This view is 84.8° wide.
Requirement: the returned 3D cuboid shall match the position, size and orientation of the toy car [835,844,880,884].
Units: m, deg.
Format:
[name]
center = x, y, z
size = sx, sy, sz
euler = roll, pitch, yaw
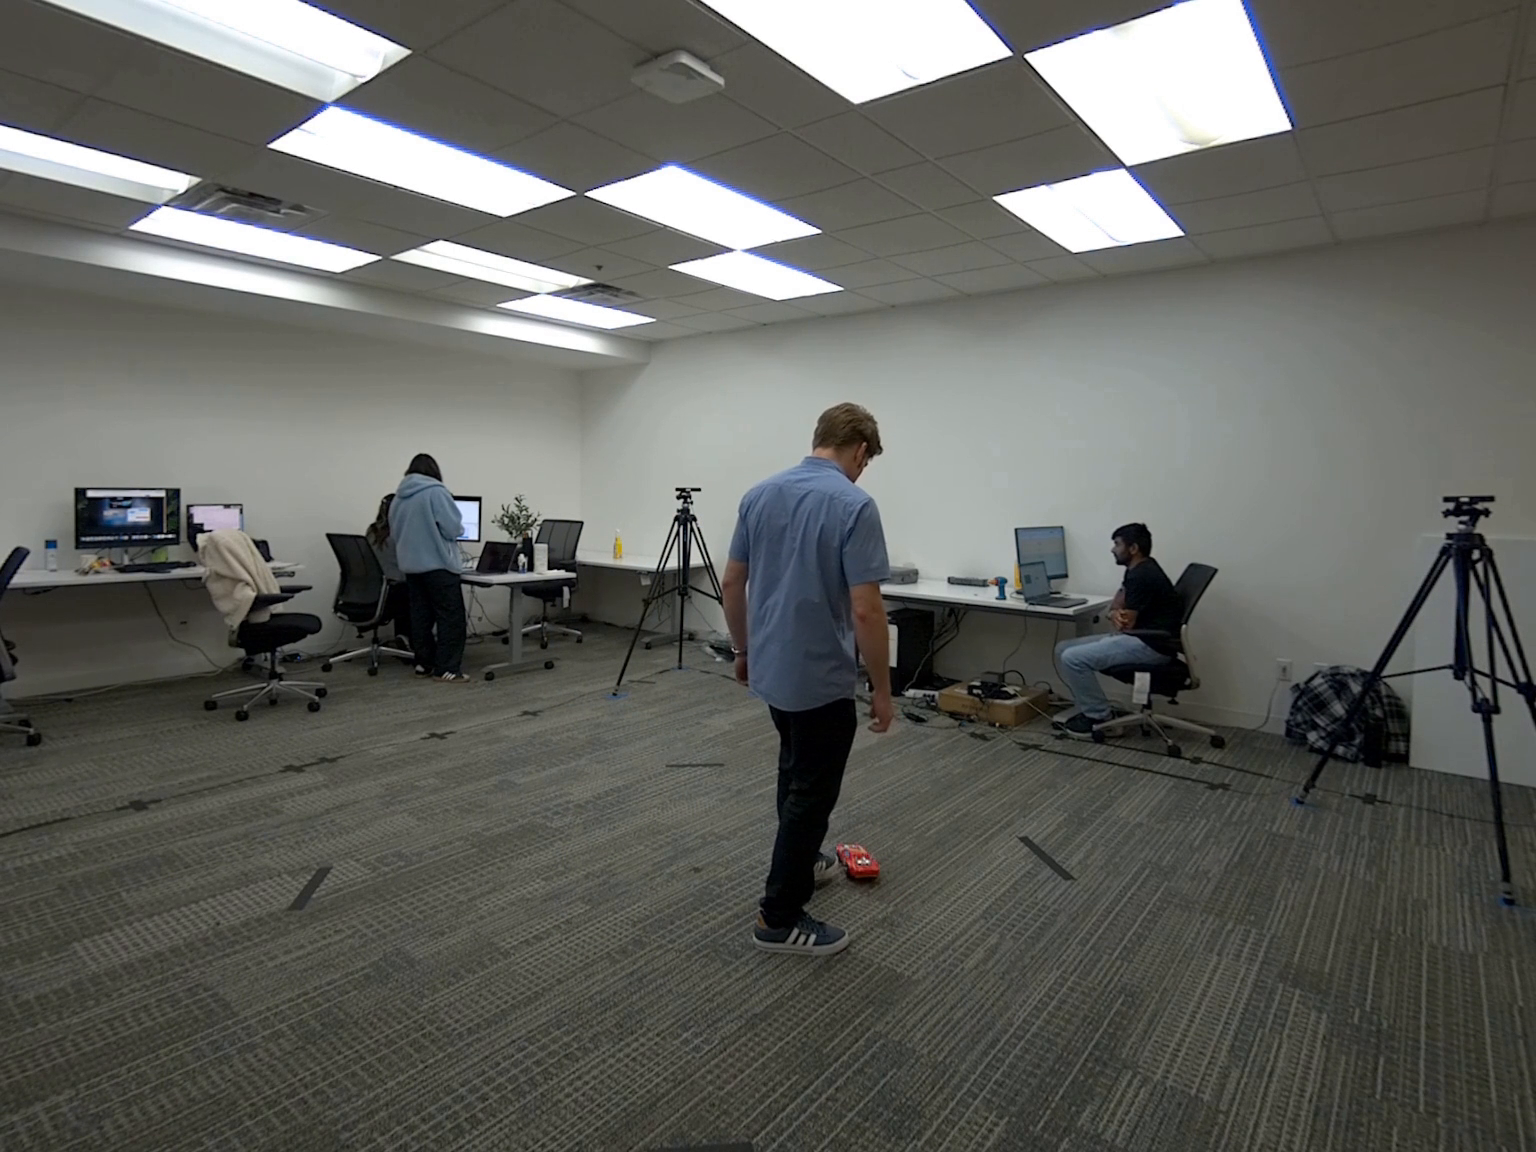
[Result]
[toy car]
center = 0.318, 1.041, 3.123
size = 0.129, 0.084, 0.256
euler = 0, -5, -11
